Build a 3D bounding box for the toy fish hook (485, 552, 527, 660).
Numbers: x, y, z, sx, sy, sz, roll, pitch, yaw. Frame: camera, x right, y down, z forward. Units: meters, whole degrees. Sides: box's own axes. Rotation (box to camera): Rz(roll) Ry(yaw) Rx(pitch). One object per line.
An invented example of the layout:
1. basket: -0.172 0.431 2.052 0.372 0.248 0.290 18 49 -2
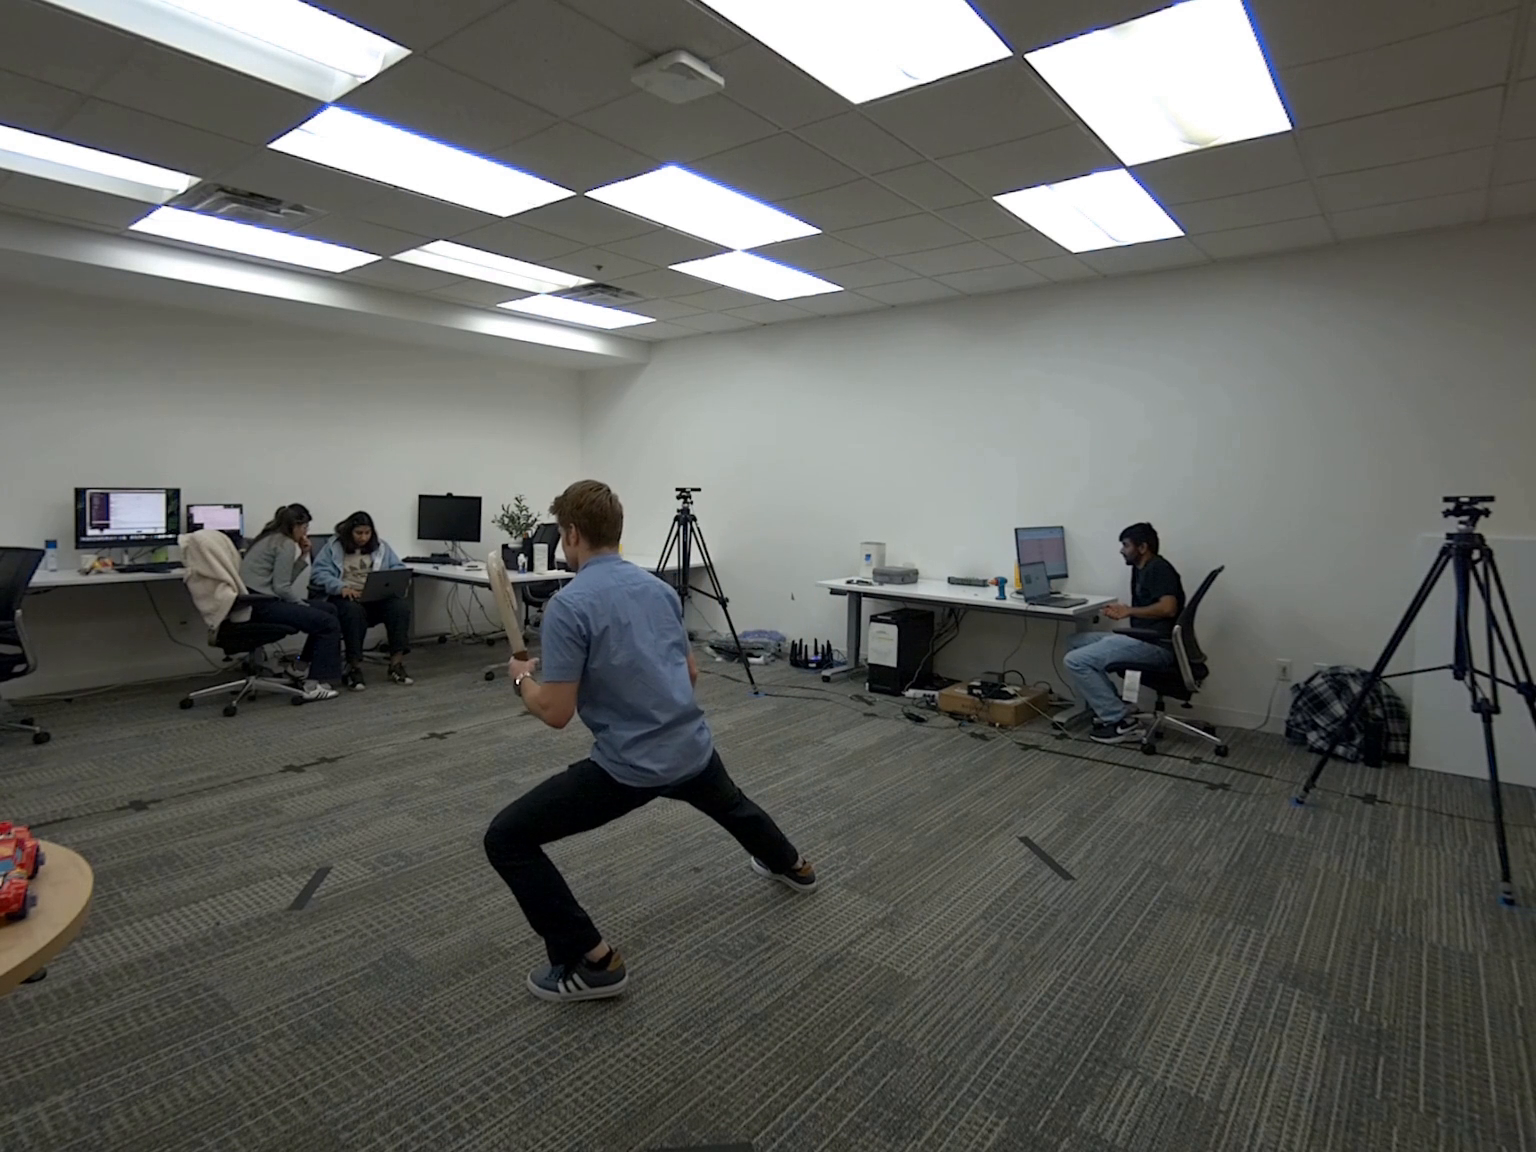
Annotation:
1. toy fish hook: -0.776 0.168 2.595 0.048 0.506 0.225 -15 1 -2
